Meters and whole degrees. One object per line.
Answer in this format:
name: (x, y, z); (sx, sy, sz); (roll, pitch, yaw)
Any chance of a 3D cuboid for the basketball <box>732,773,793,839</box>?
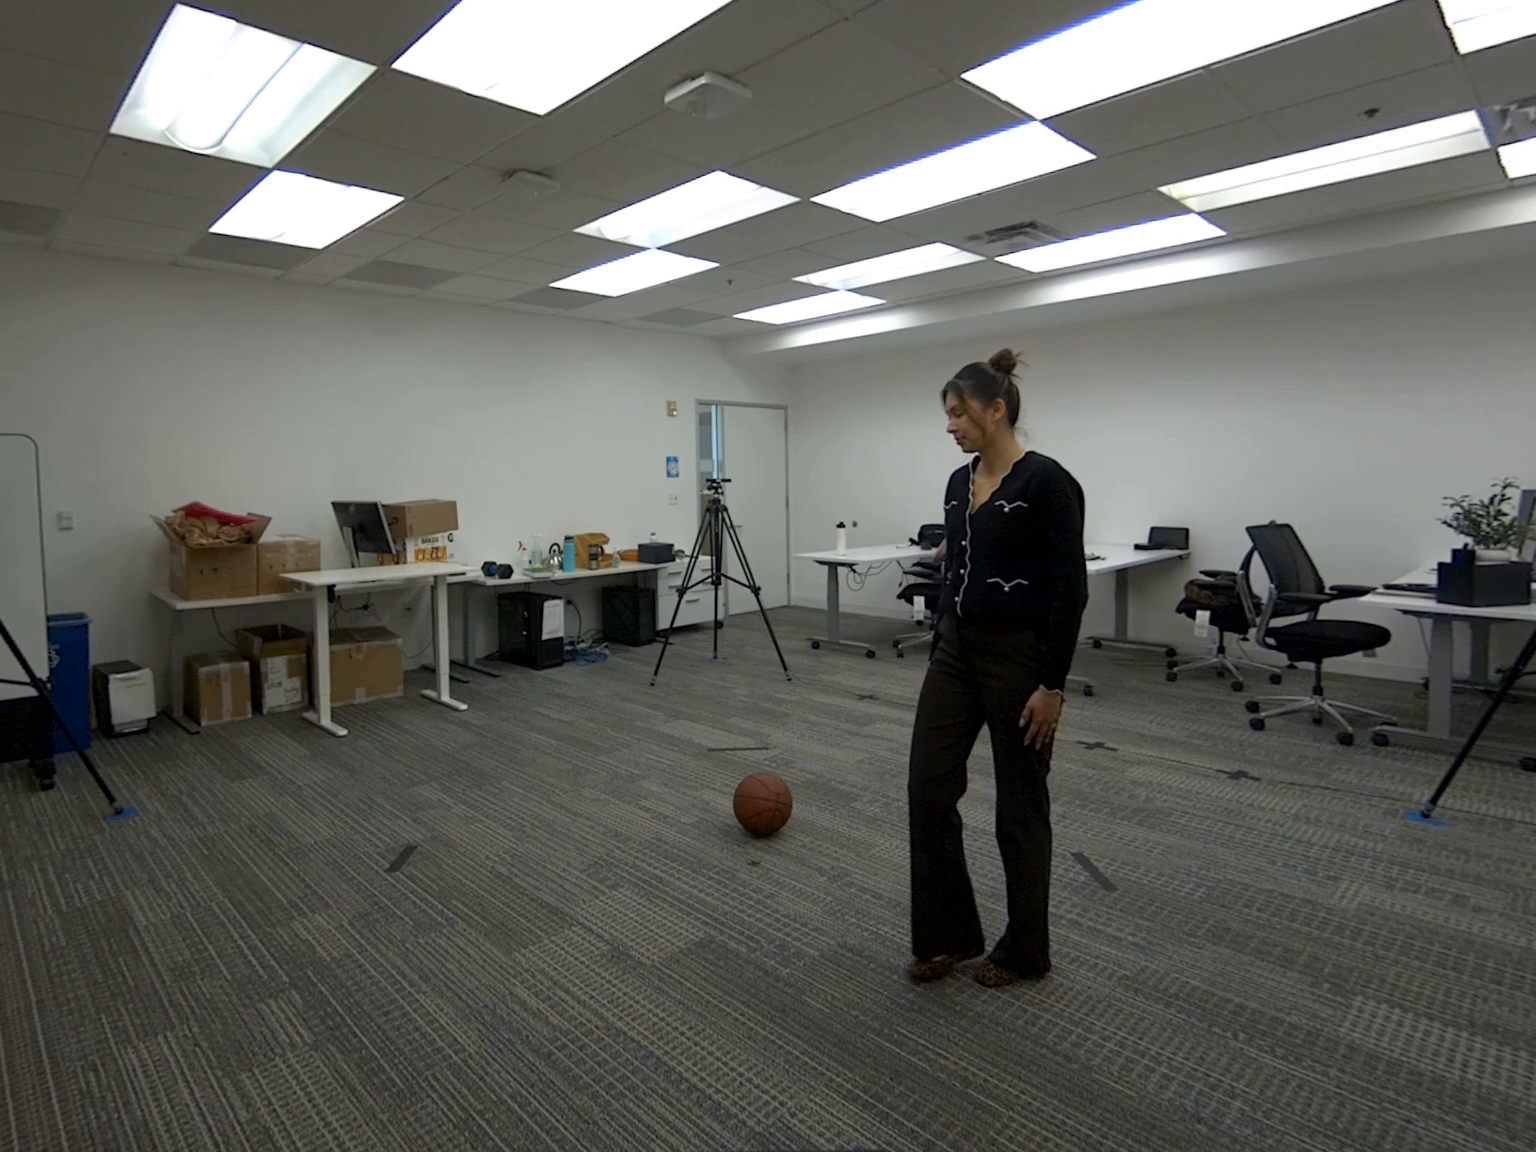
basketball: (-0.019, 0.896, 3.369); (0.236, 0.235, 0.237); (-1, 5, -2)
